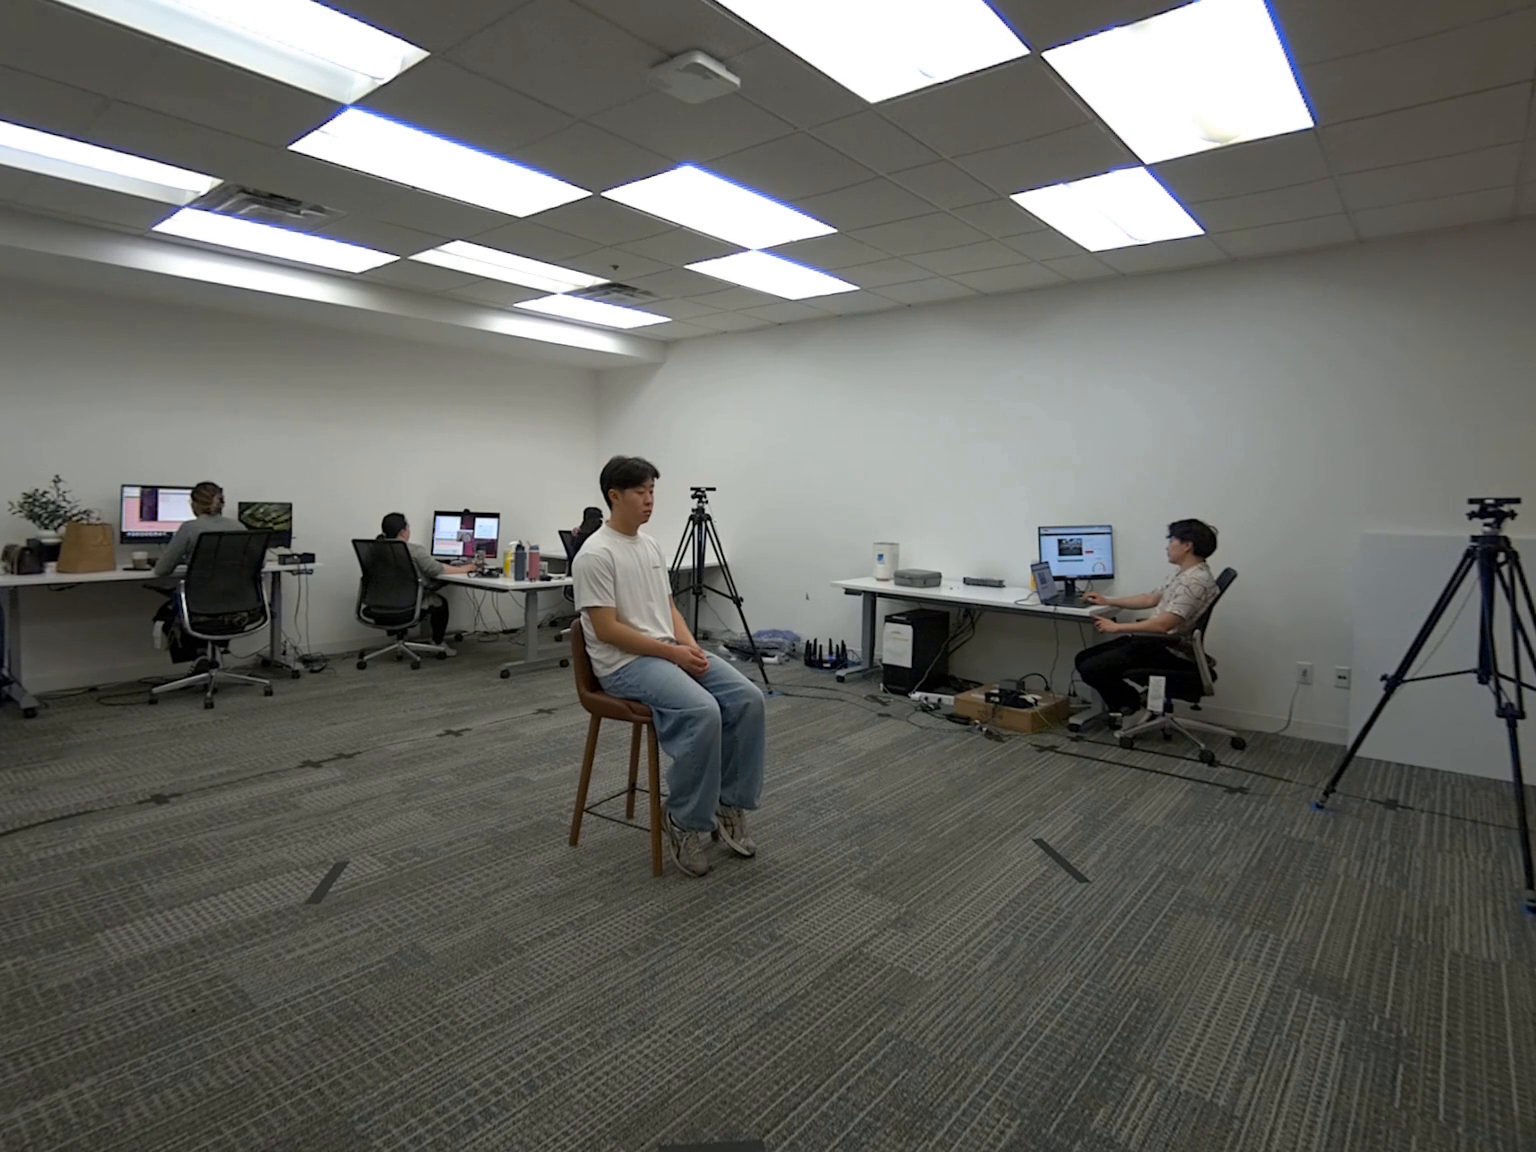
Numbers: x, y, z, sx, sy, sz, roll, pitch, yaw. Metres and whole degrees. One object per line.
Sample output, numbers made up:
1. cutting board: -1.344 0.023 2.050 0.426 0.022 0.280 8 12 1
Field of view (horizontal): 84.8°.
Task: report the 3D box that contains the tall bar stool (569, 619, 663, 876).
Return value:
1. tall bar stool: -0.500 0.607 3.317 0.481 0.889 0.444 0 1 31
